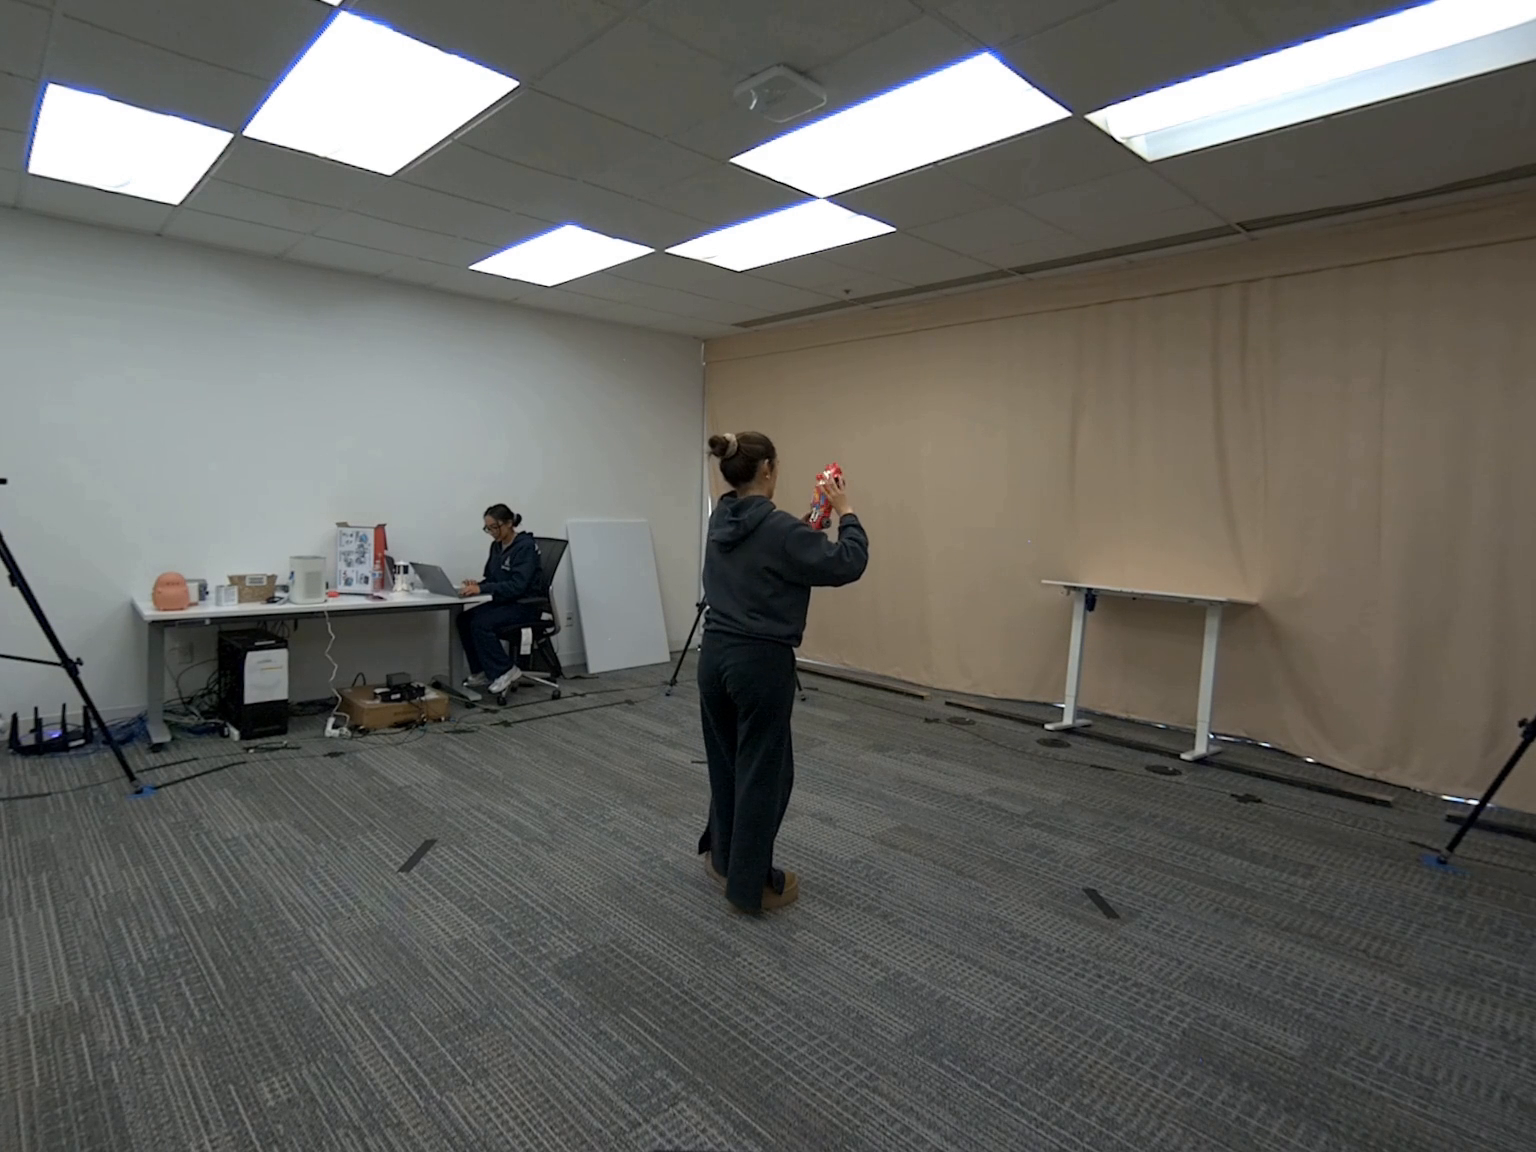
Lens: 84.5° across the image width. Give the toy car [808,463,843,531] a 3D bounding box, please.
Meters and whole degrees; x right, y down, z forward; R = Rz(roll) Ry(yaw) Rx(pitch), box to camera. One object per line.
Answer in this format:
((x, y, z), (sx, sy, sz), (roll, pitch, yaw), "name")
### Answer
((0.196, -0.280, 2.990), (0.082, 0.255, 0.132), (11, -6, -22), "toy car")
